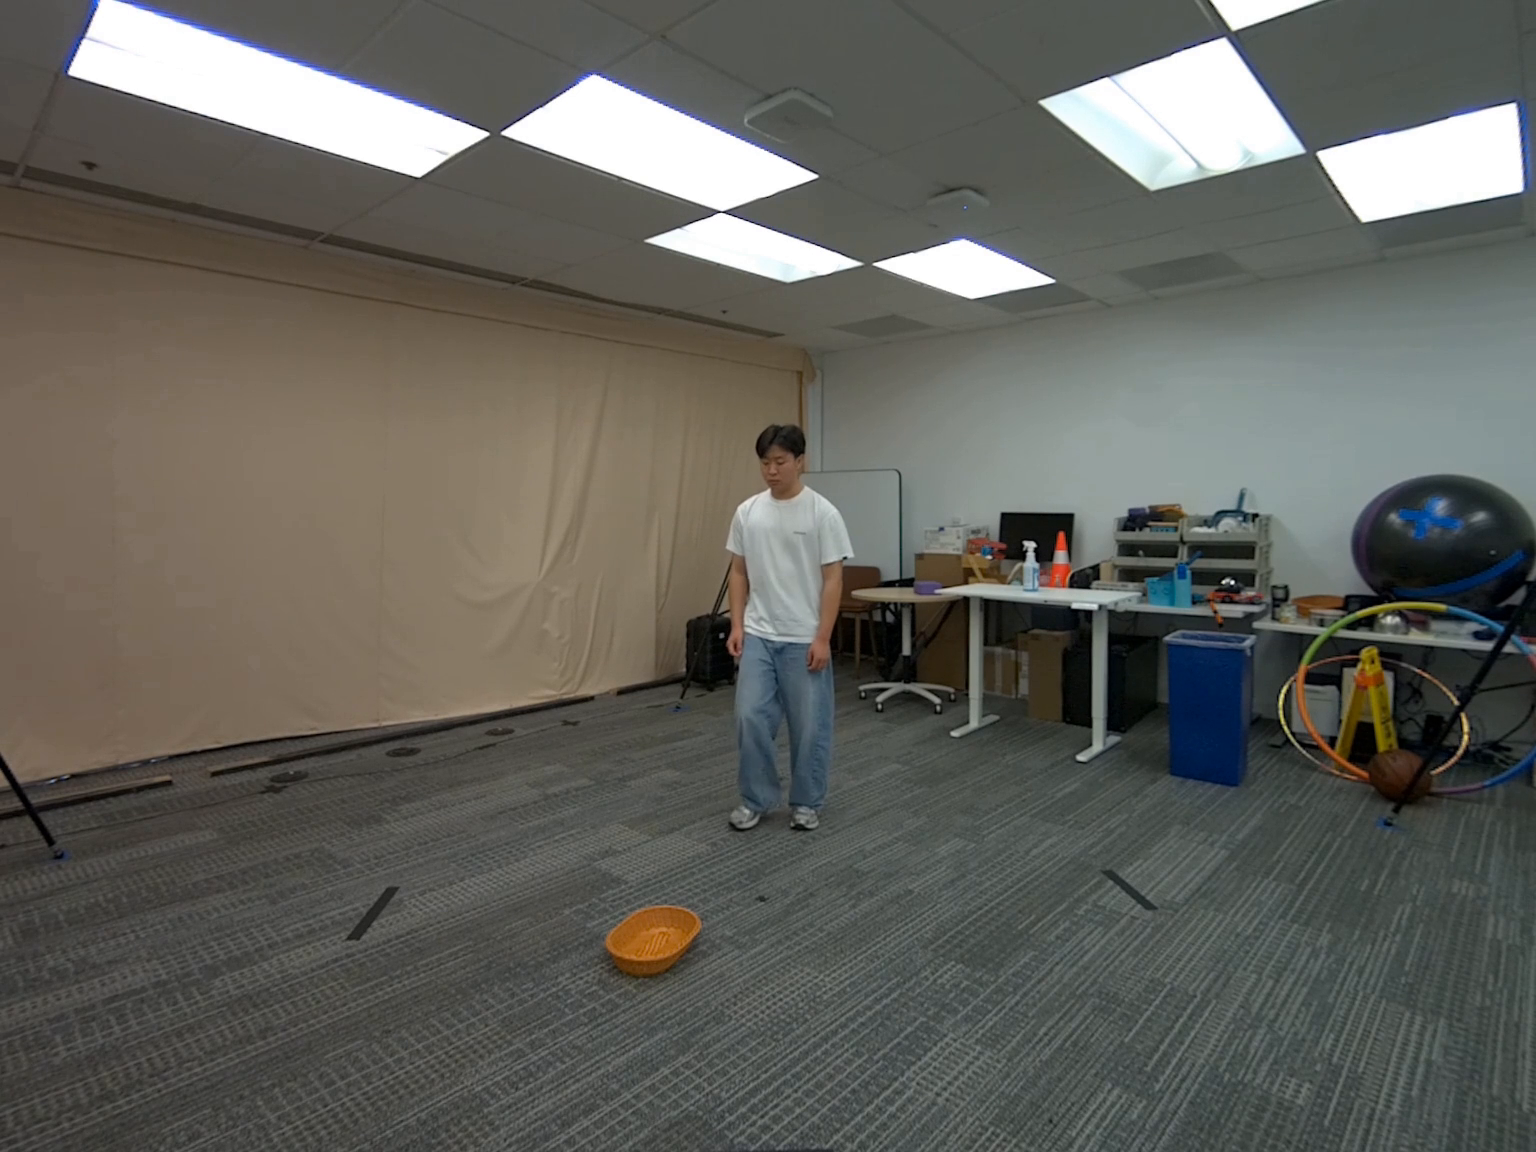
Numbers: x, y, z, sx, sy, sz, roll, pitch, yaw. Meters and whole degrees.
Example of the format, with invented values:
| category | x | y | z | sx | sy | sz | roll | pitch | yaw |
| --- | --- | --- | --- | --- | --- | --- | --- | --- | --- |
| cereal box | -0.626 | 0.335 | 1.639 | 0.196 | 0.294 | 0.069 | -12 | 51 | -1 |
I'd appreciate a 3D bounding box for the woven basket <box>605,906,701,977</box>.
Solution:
| category | x | y | z | sx | sy | sz | roll | pitch | yaw |
| --- | --- | --- | --- | --- | --- | --- | --- | --- | --- |
| woven basket | -0.351 | 1.139 | 2.622 | 0.259 | 0.073 | 0.342 | 2 | 5 | 27 |
